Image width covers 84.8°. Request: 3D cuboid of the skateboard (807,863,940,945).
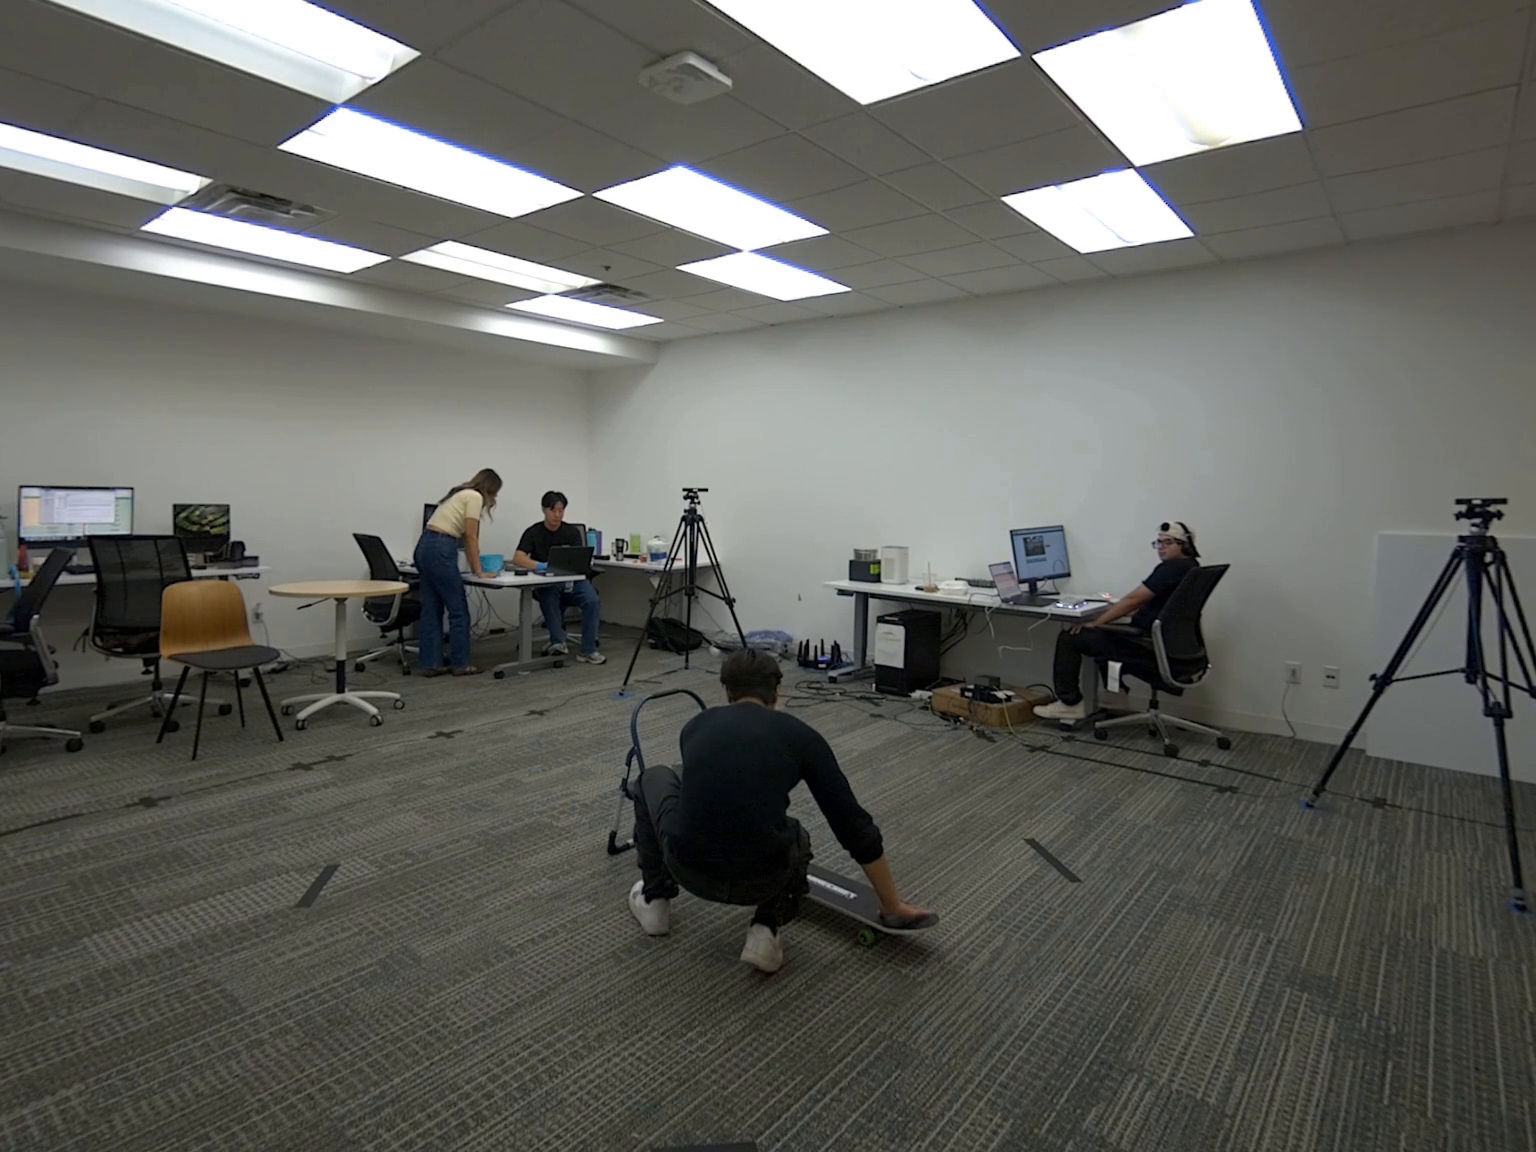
[{"bbox_3d":[0.186,1.048,2.801,0.813,0.110,0.187,7,7,42],"label":"skateboard"}]
